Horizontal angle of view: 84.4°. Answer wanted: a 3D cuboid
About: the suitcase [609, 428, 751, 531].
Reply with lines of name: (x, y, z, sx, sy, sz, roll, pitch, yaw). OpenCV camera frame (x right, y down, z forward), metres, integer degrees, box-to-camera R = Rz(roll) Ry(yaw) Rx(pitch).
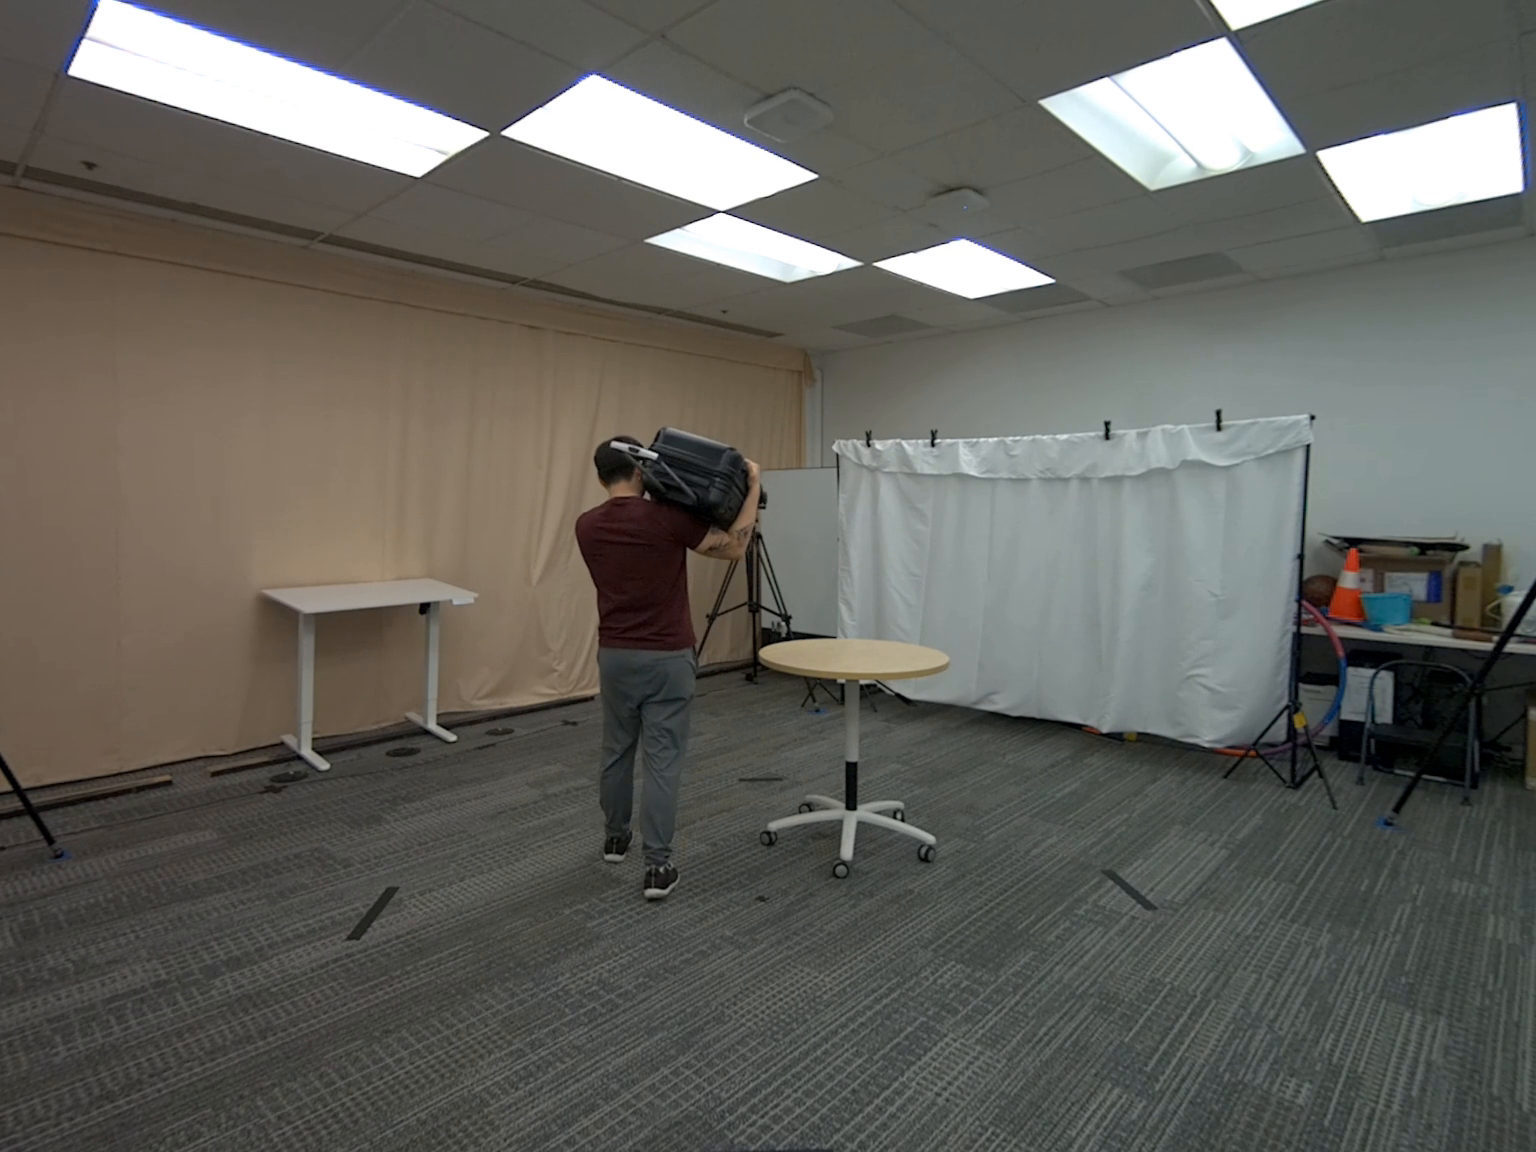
suitcase: (-0.275, -0.385, 3.010, 0.392, 0.257, 0.958, 21, -9, 15)
